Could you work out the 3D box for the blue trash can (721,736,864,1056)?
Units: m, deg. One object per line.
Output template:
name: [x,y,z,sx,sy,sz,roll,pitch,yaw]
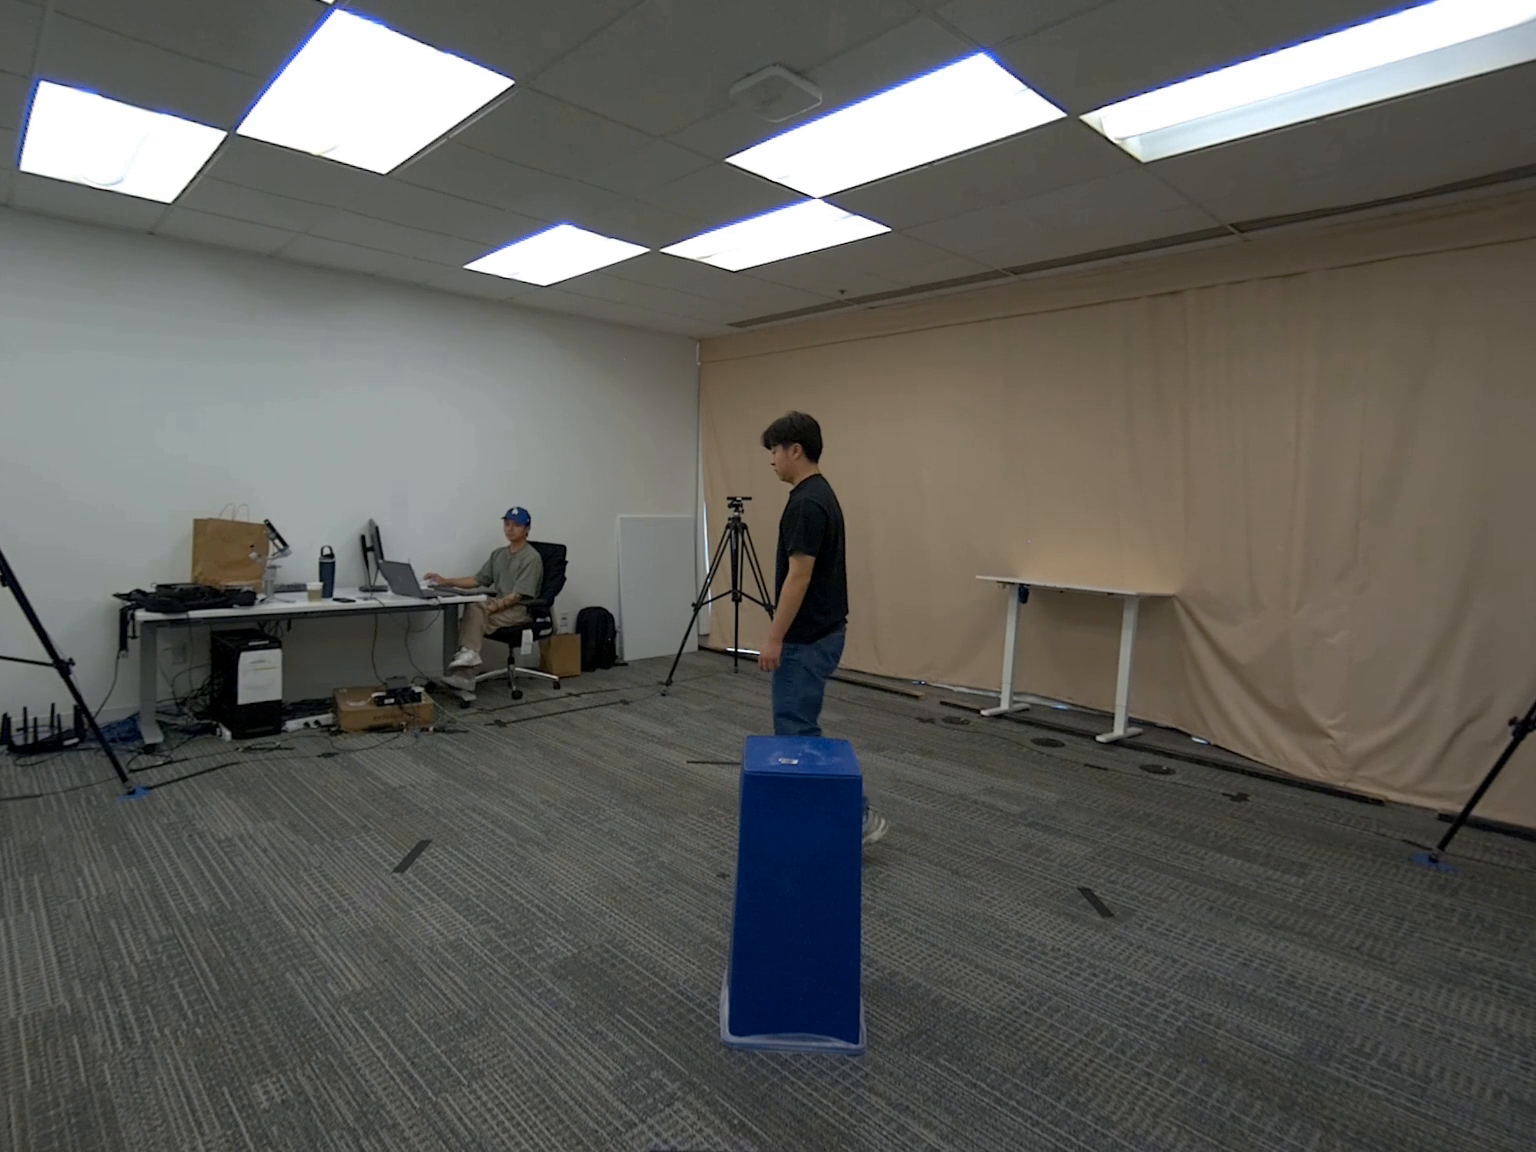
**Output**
blue trash can: [0.068,0.840,2.271,0.378,0.711,0.375,2,6,0]
